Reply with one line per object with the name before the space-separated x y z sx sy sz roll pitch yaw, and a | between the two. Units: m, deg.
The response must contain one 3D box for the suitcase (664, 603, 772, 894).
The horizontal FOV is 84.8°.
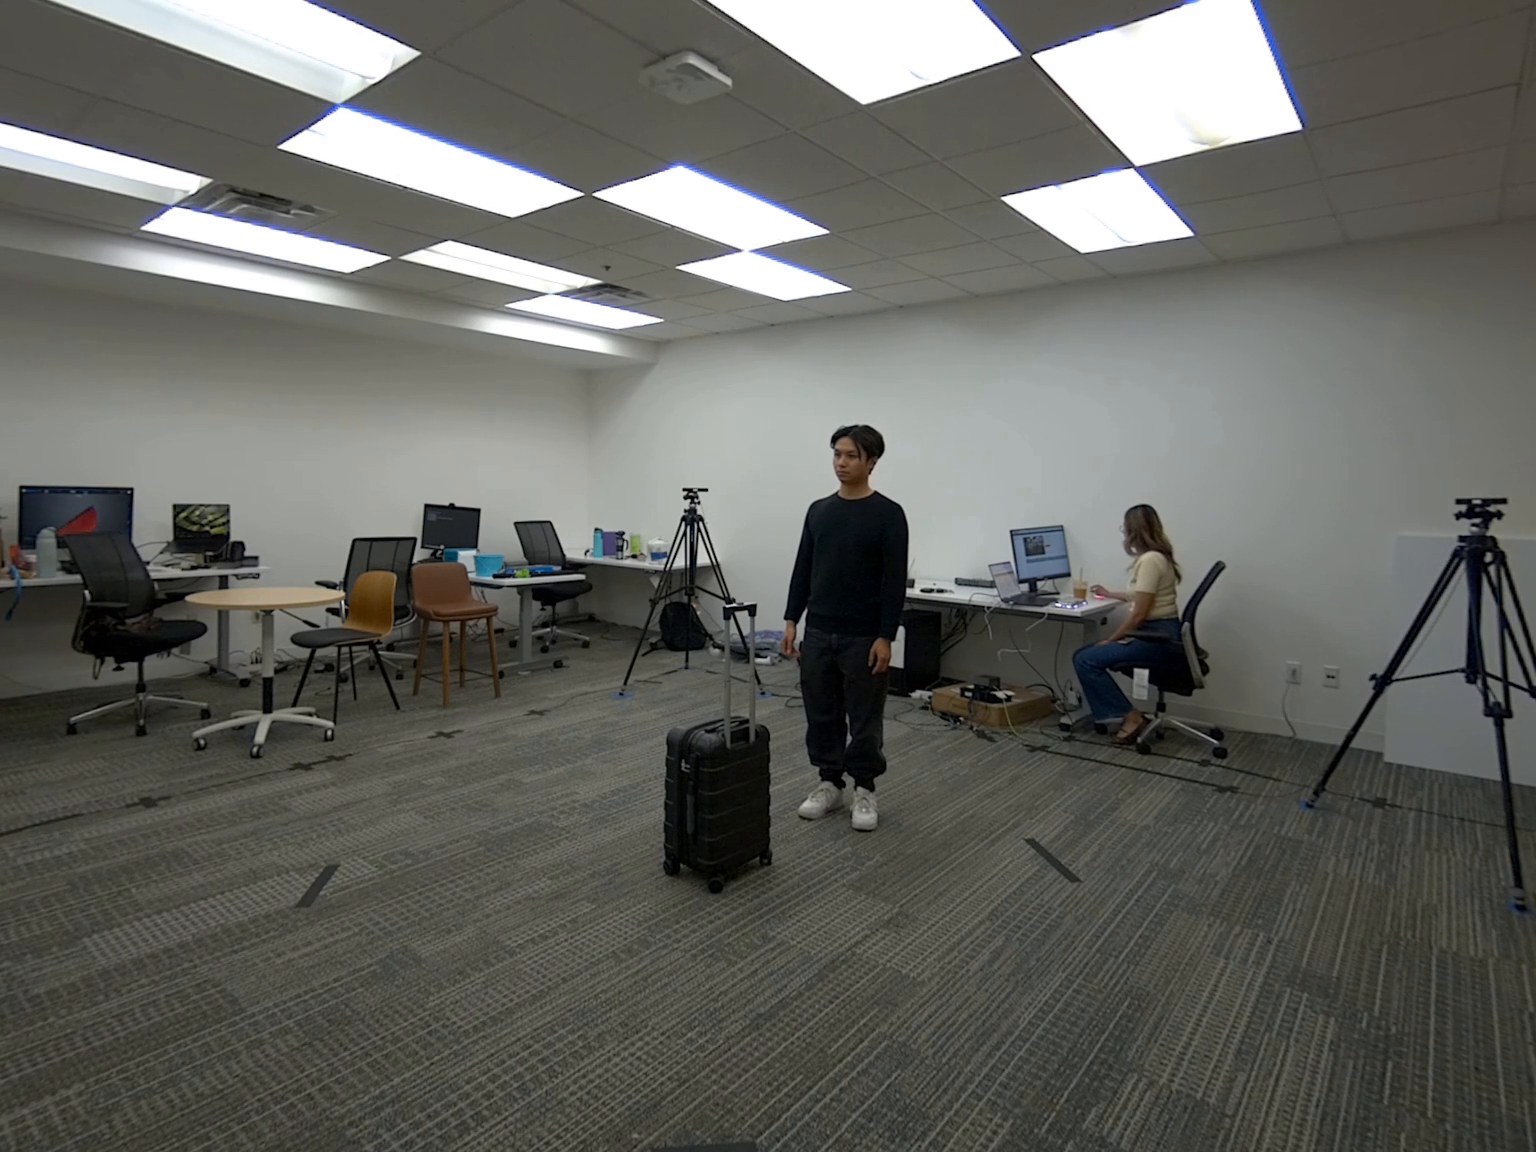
suitcase | -0.193 0.592 3.100 0.265 0.977 0.372 1 2 40
